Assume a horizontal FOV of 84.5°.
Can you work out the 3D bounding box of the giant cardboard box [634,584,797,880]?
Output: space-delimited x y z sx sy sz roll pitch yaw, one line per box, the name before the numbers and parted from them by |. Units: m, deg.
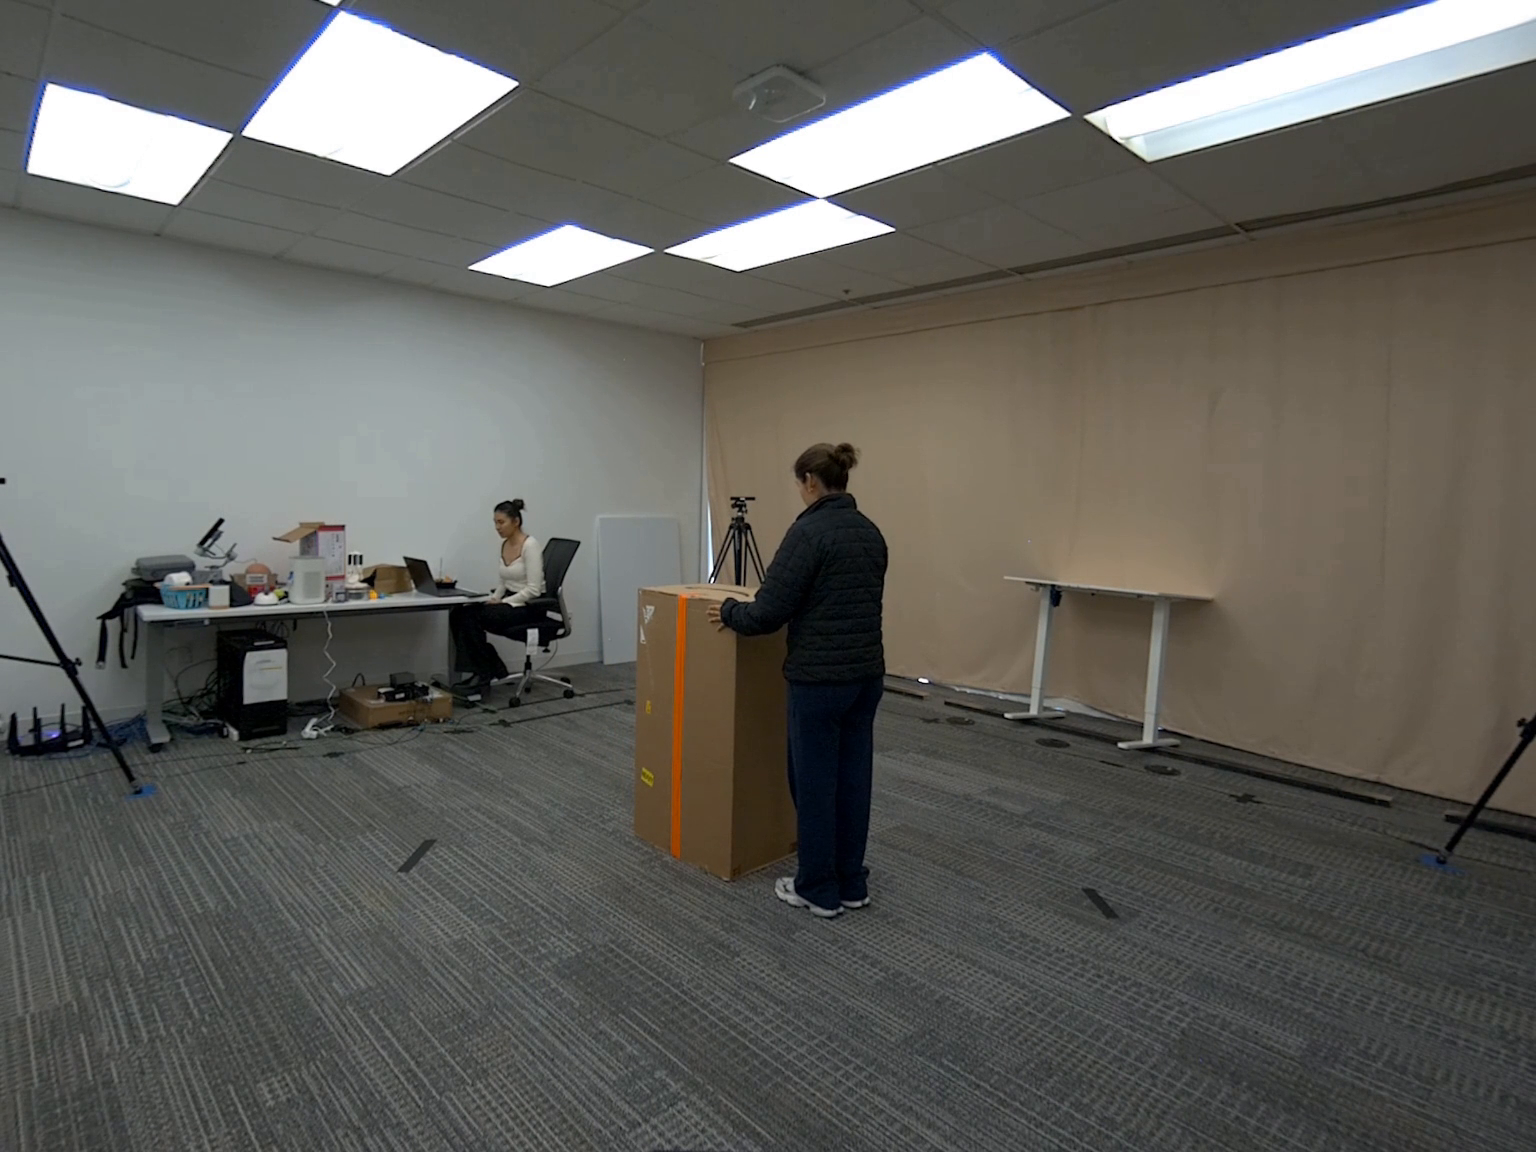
giant cardboard box | -0.198 0.579 3.362 0.416 1.023 0.592 -2 5 -45
